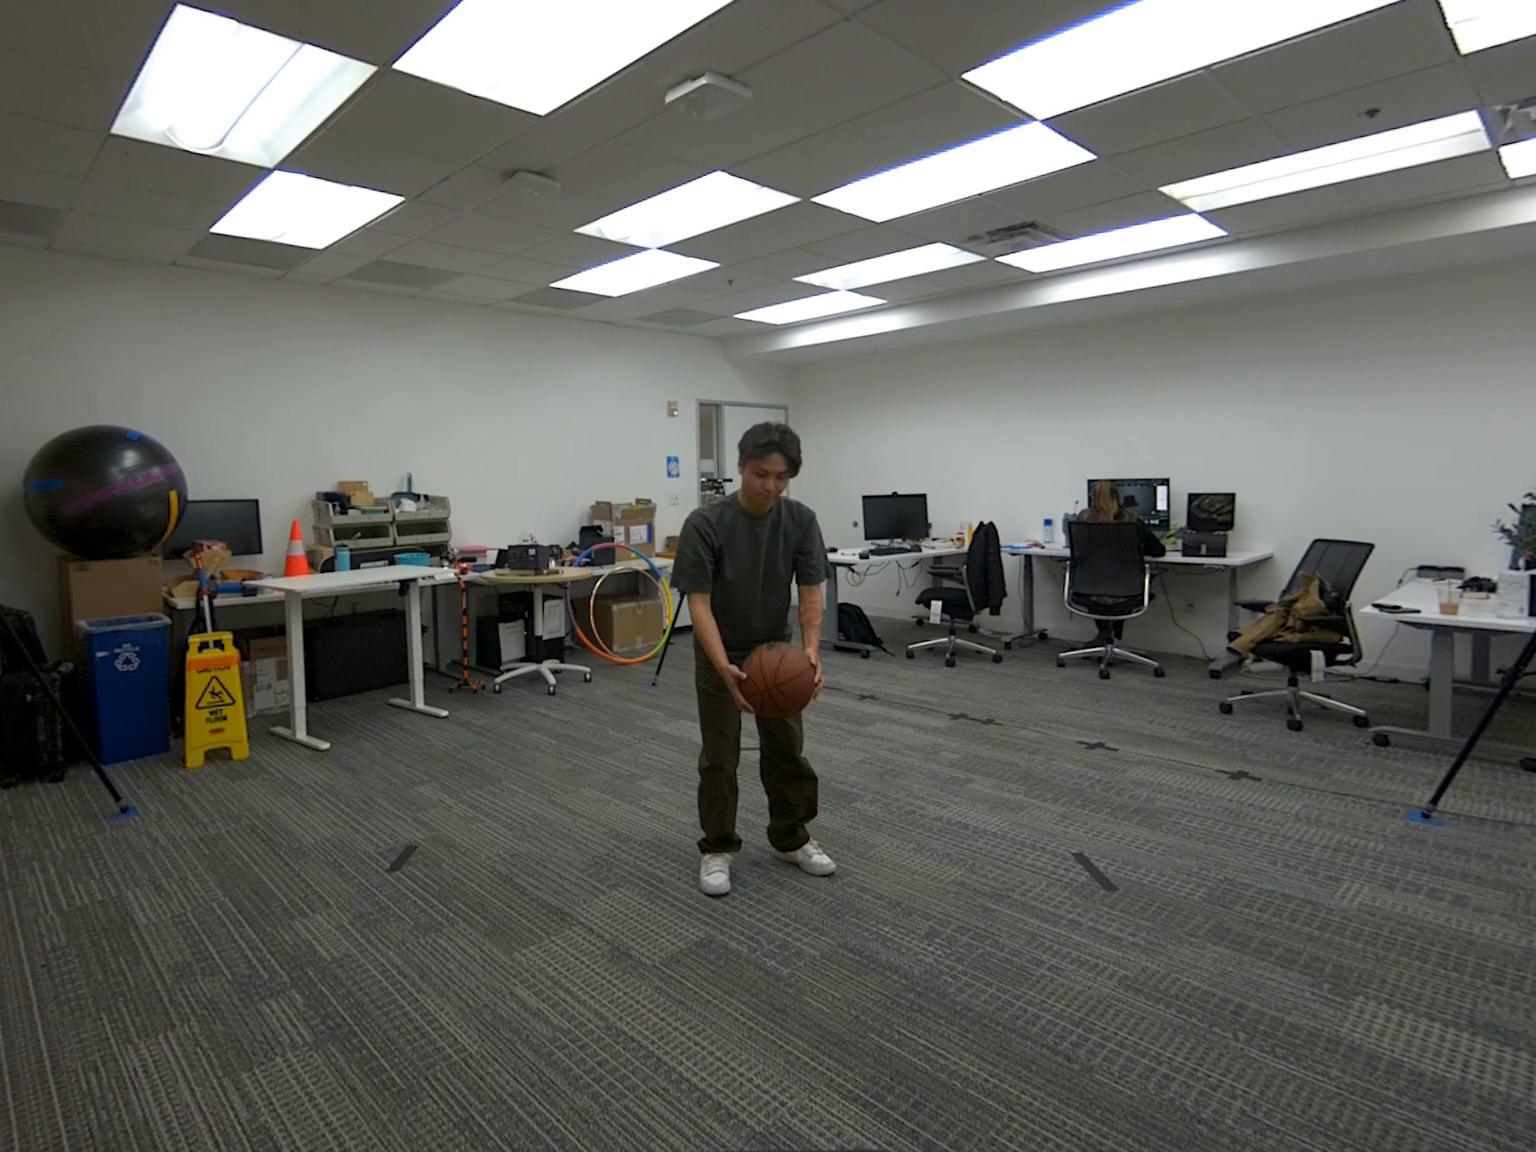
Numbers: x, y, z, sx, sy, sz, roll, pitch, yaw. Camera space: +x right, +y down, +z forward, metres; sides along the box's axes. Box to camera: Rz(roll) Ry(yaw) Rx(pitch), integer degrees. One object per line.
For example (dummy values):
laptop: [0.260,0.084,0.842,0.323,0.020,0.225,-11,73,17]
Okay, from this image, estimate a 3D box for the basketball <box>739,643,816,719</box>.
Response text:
basketball: [0.030,0.330,2.676,0.236,0.235,0.237,-1,5,-2]
